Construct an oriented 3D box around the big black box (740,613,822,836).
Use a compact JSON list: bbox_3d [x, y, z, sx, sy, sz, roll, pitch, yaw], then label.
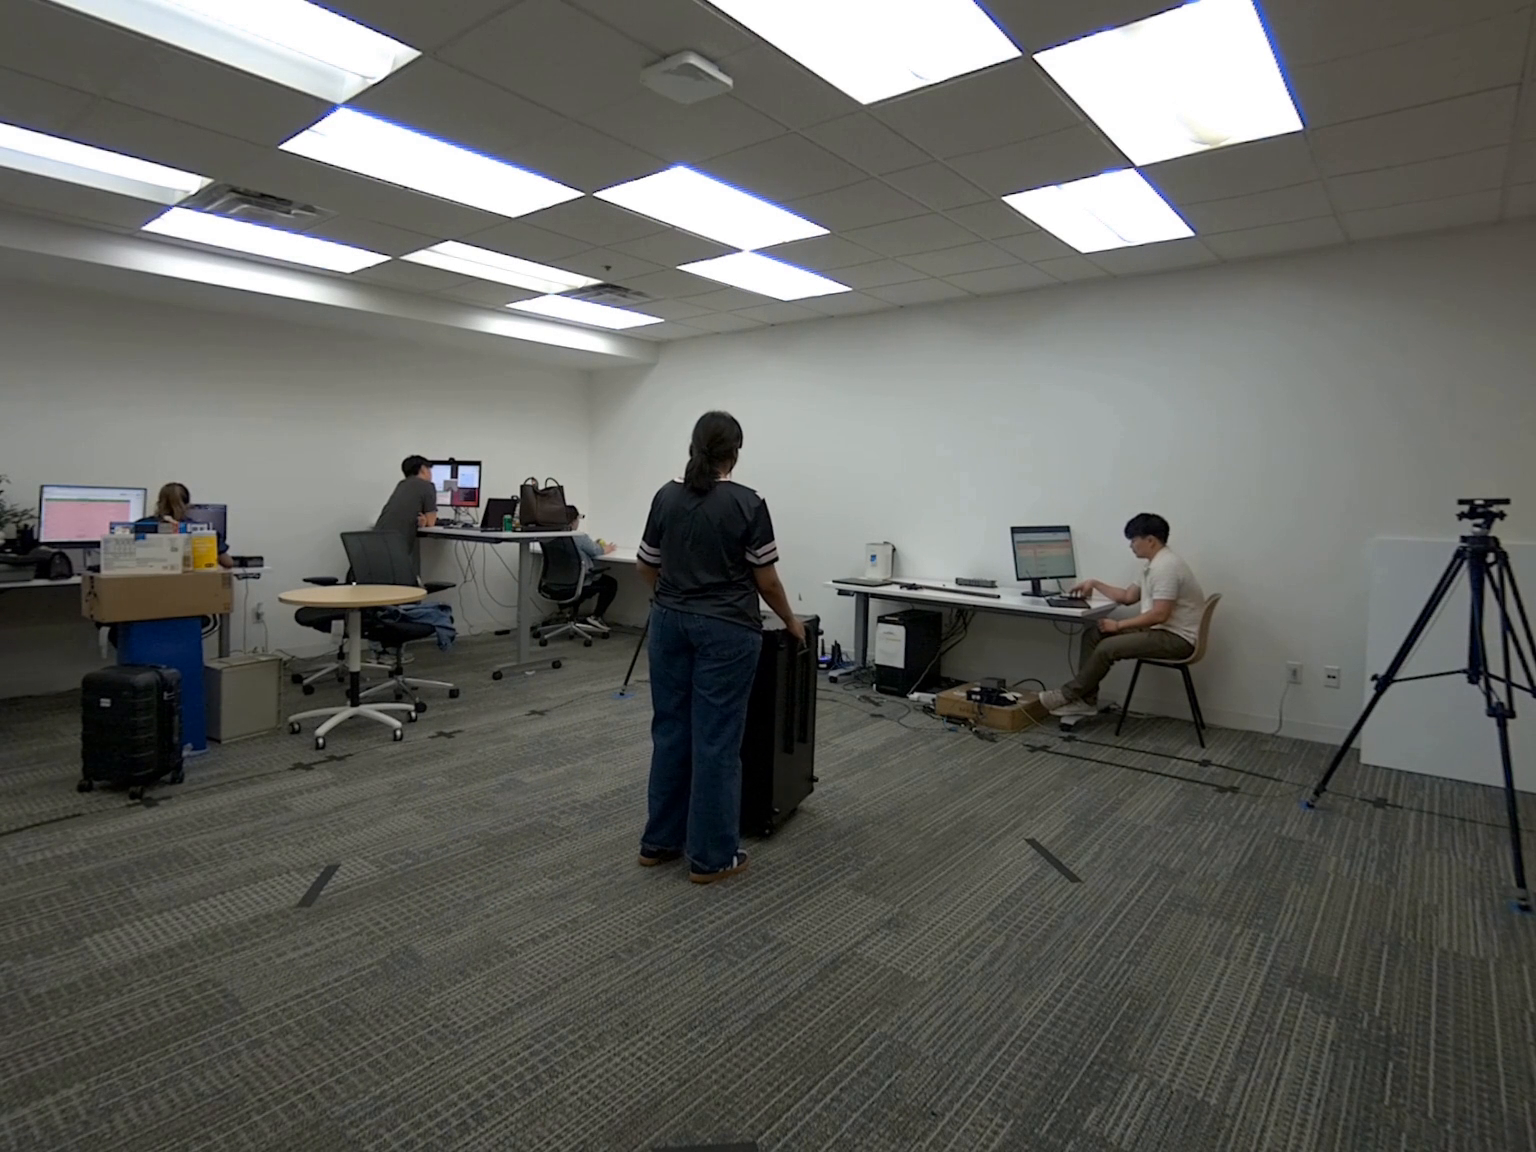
[{"bbox_3d":[-0.044,0.606,3.593,0.395,0.866,0.512,3,4,23],"label":"big black box"}]
